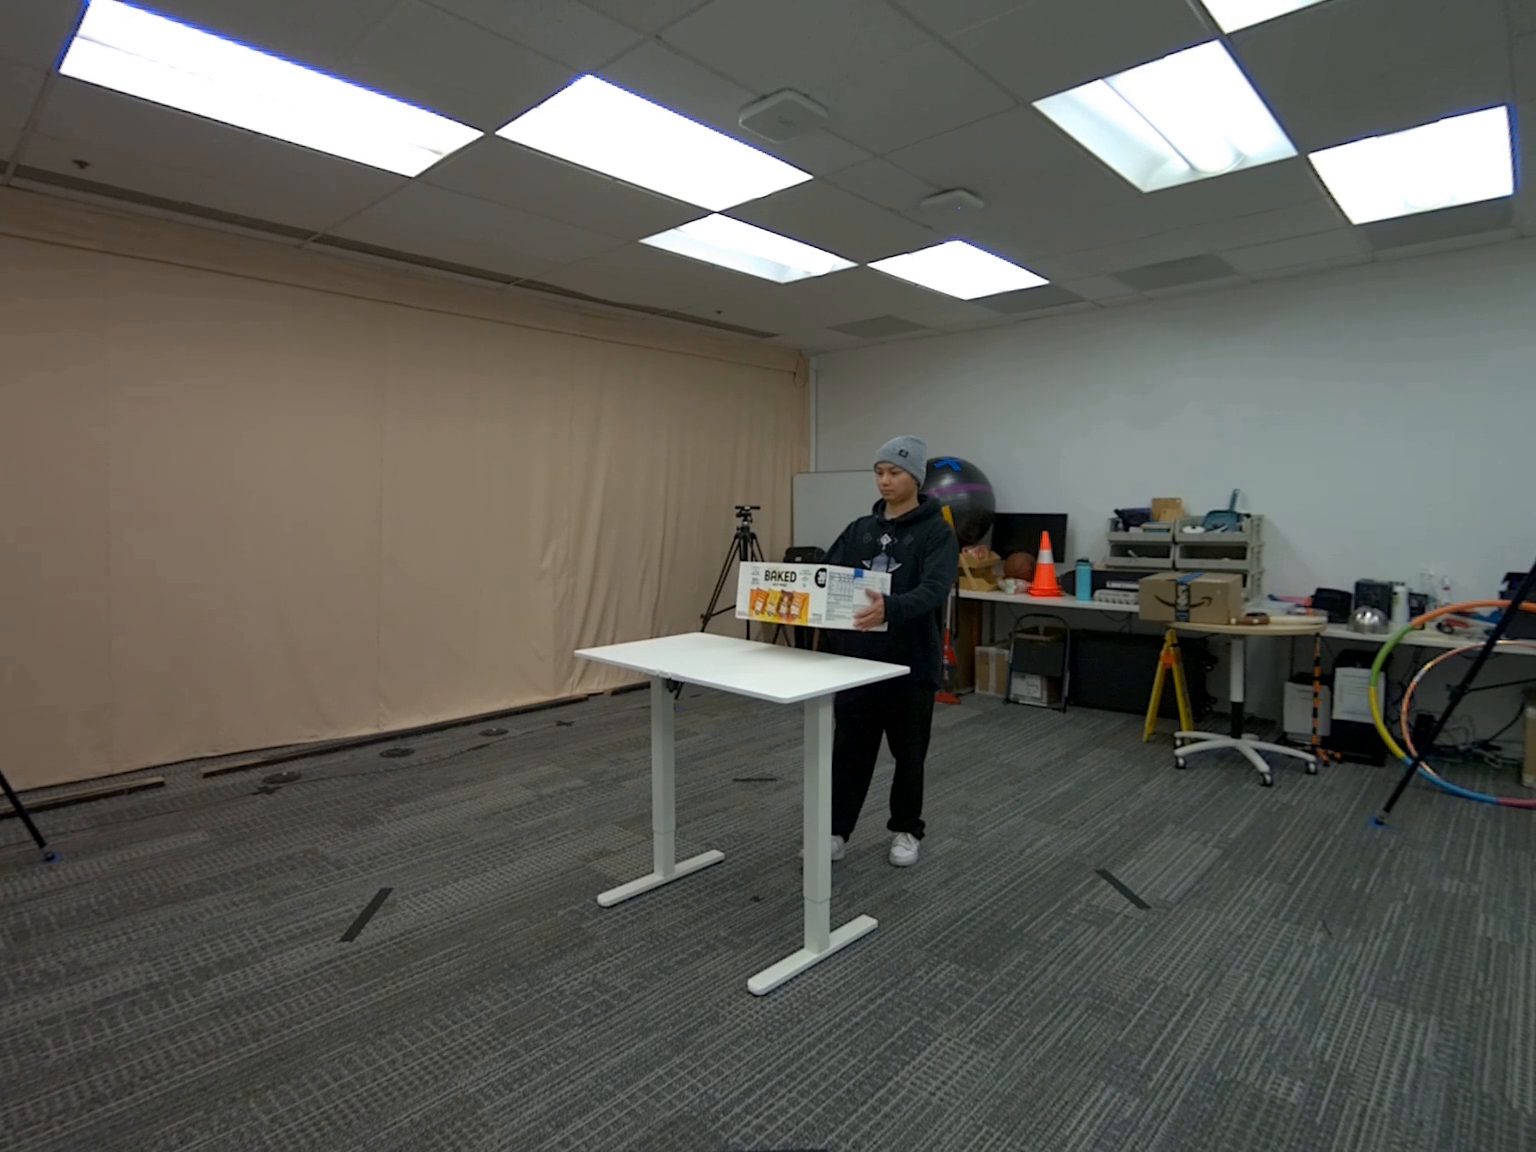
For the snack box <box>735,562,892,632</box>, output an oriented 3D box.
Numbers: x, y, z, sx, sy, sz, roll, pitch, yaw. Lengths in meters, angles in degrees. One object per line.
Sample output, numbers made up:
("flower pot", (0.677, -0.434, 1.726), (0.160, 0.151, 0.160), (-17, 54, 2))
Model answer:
("snack box", (0.159, 0.072, 2.945), (0.329, 0.206, 0.418), (6, -2, -44))
